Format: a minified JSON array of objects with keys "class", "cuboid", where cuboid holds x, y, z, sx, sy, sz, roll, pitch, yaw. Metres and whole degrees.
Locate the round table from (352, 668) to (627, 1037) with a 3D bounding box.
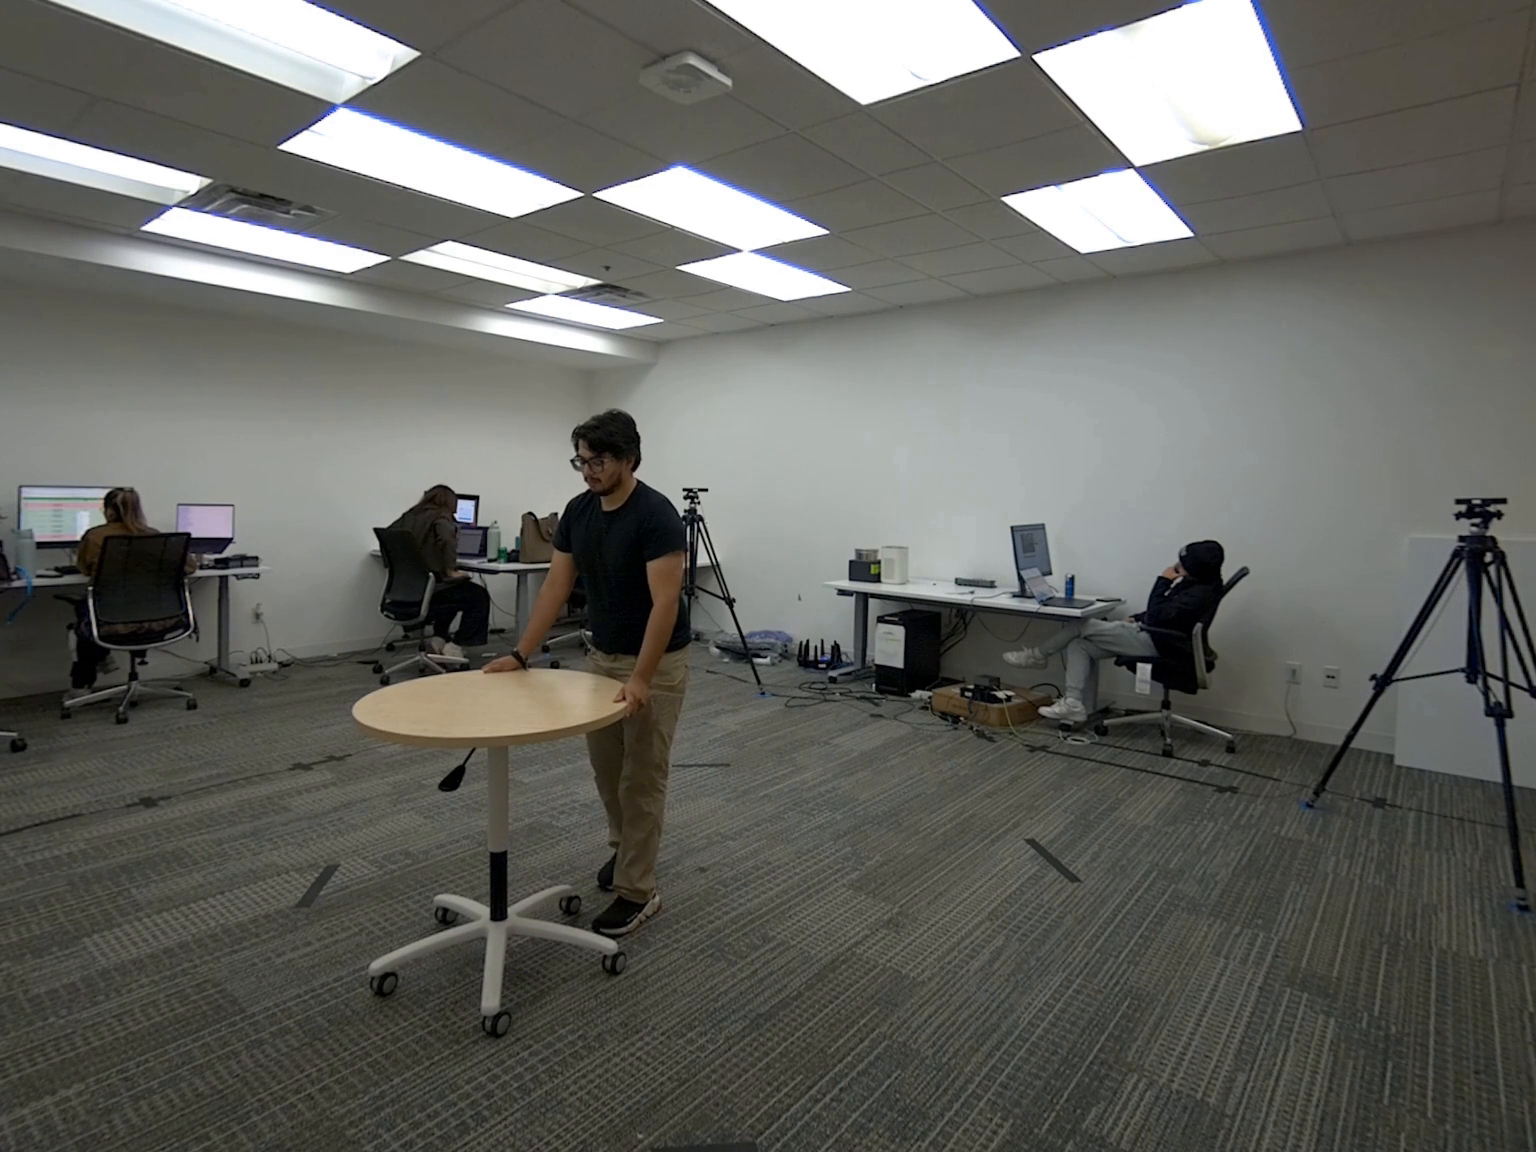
[{"class":"round table","cuboid":[-0.768,0.728,2.441,0.784,0.783,0.789,0,5,-2]}]
